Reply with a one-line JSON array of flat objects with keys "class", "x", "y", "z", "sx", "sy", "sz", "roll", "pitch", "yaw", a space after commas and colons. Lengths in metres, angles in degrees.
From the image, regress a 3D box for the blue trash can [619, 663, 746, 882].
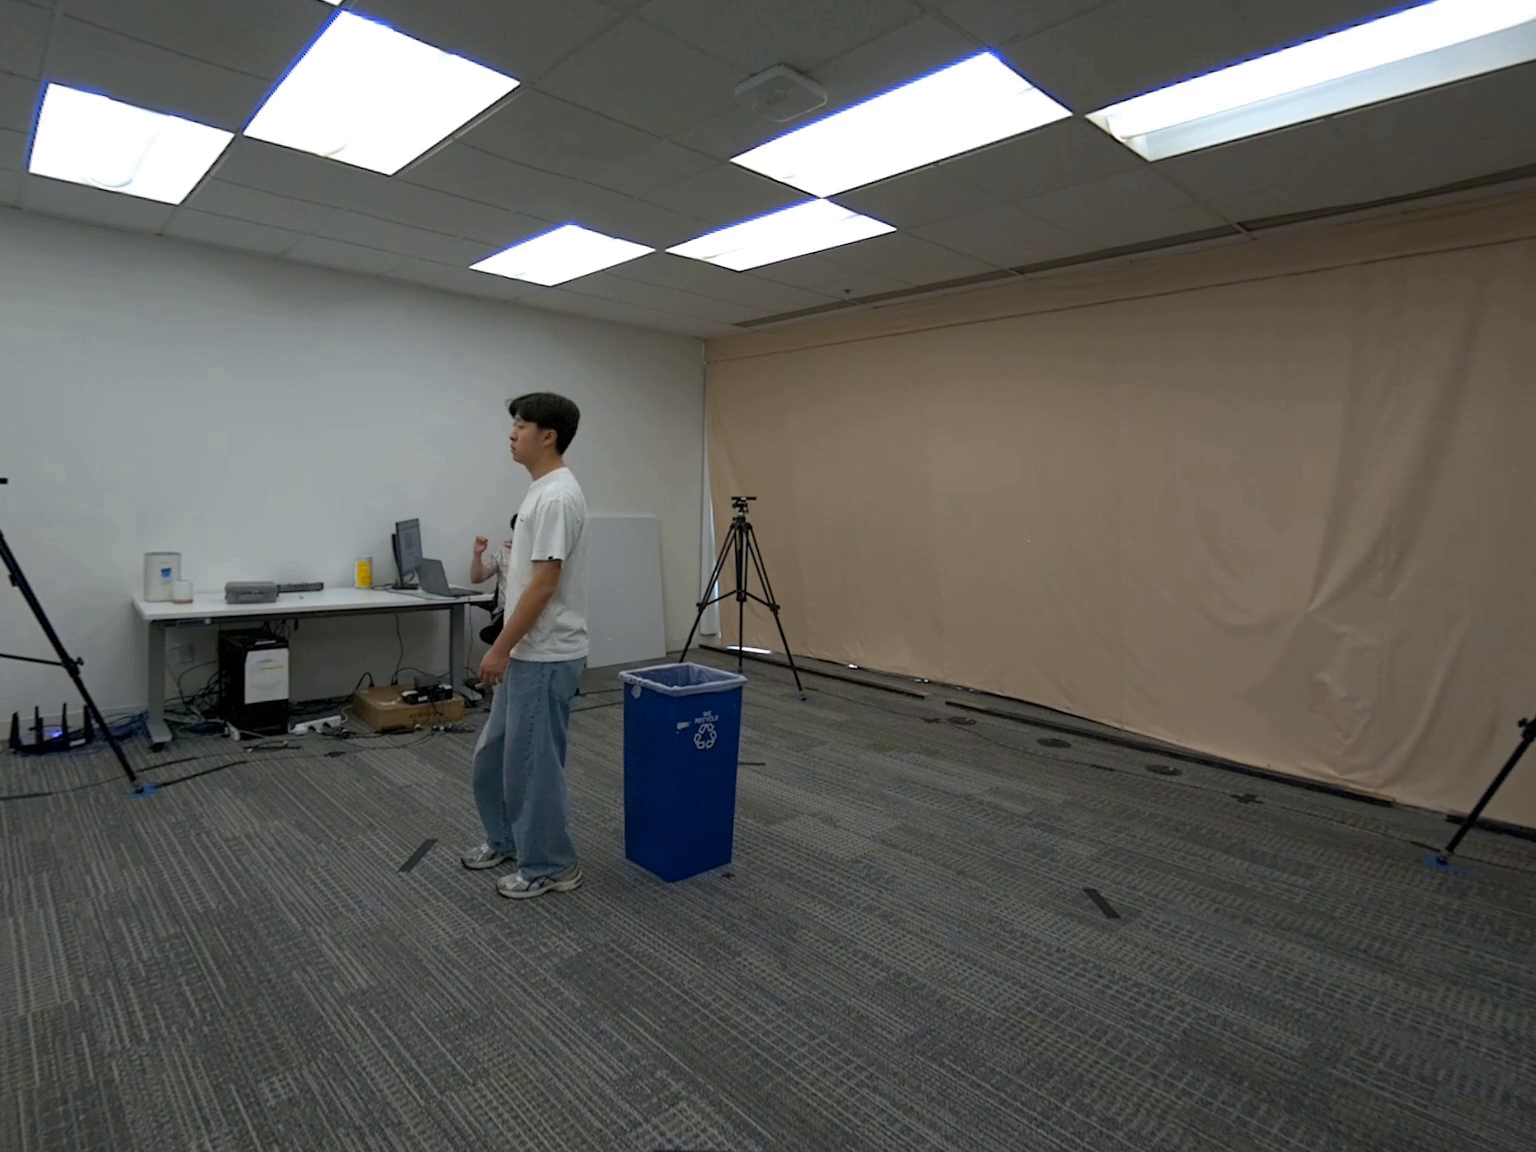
[{"class": "blue trash can", "x": -0.338, "y": 0.732, "z": 3.228, "sx": 0.365, "sy": 0.711, "sz": 0.388, "roll": -2, "pitch": 5, "yaw": -43}]
